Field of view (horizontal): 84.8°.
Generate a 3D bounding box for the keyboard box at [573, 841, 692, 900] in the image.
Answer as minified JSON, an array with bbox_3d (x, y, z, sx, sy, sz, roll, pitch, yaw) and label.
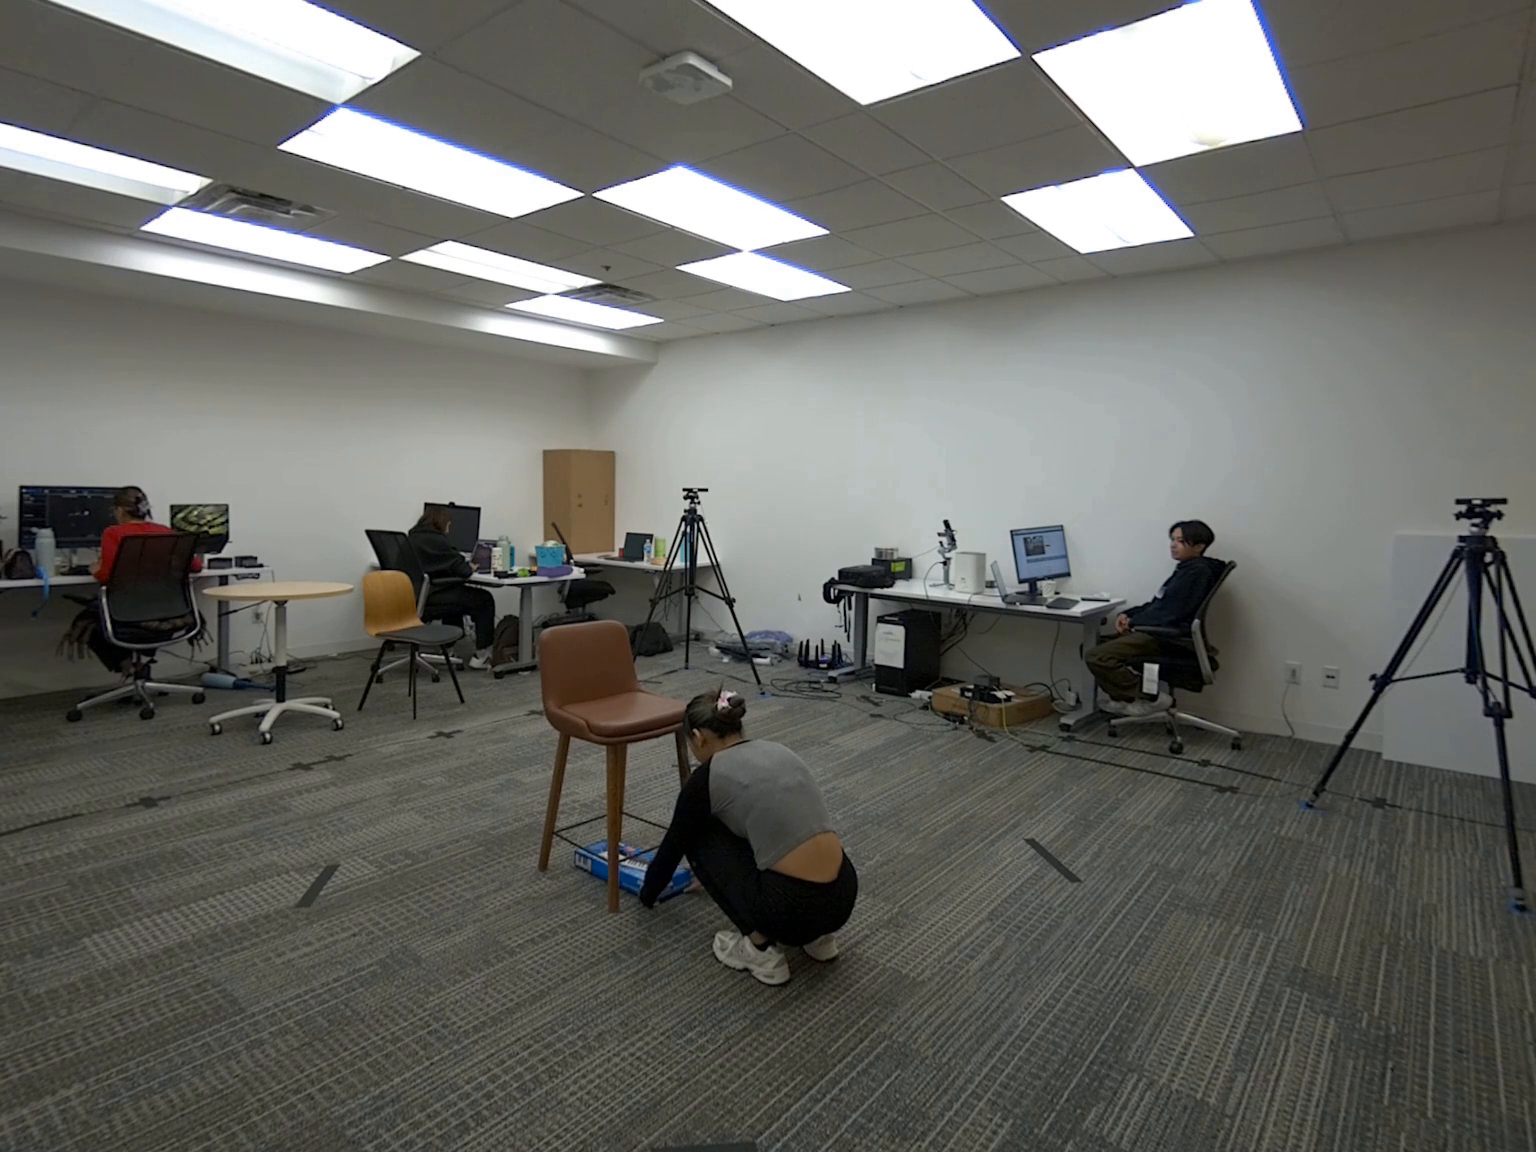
[{"bbox_3d":[-0.502,1.038,3.025,0.451,0.059,0.171,3,5,42],"label":"keyboard box"}]
